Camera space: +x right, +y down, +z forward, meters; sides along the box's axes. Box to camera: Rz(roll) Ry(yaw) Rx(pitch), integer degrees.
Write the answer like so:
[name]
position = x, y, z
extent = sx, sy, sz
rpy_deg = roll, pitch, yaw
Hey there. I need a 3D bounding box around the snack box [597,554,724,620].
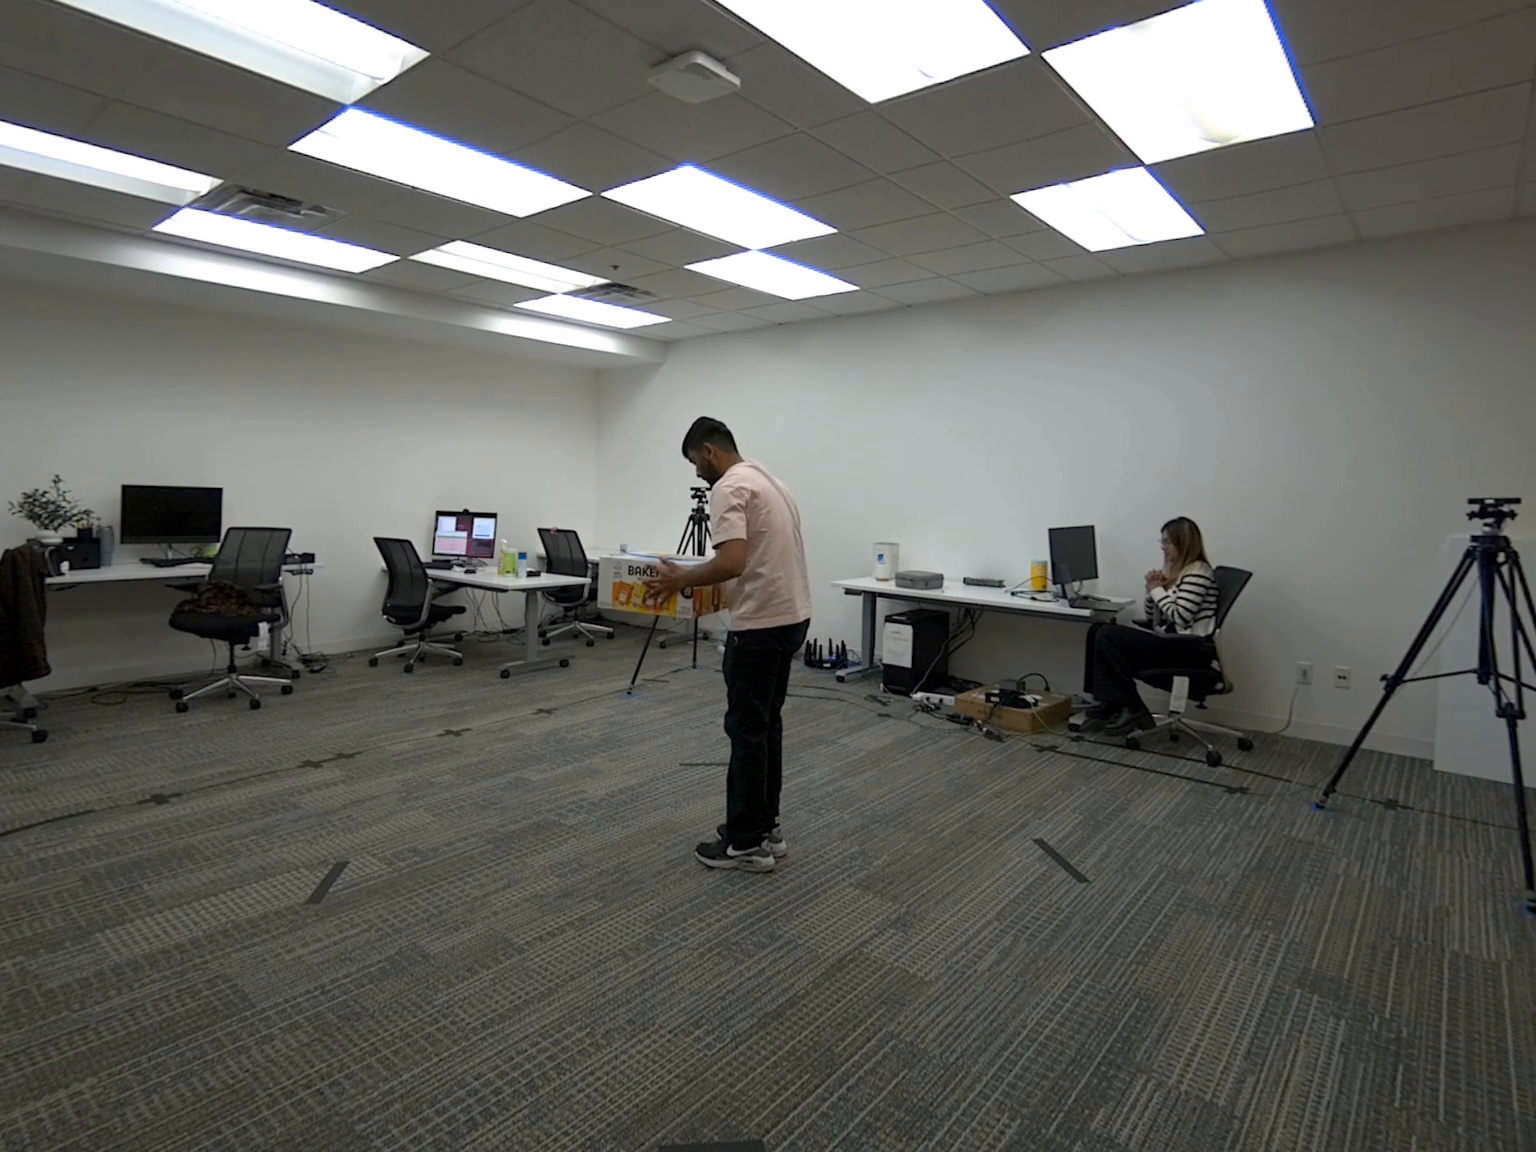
[snack box]
position = -0.417, 0.032, 3.350
extent = 0.415, 0.205, 0.333
rpy_deg = 5, 5, 22
